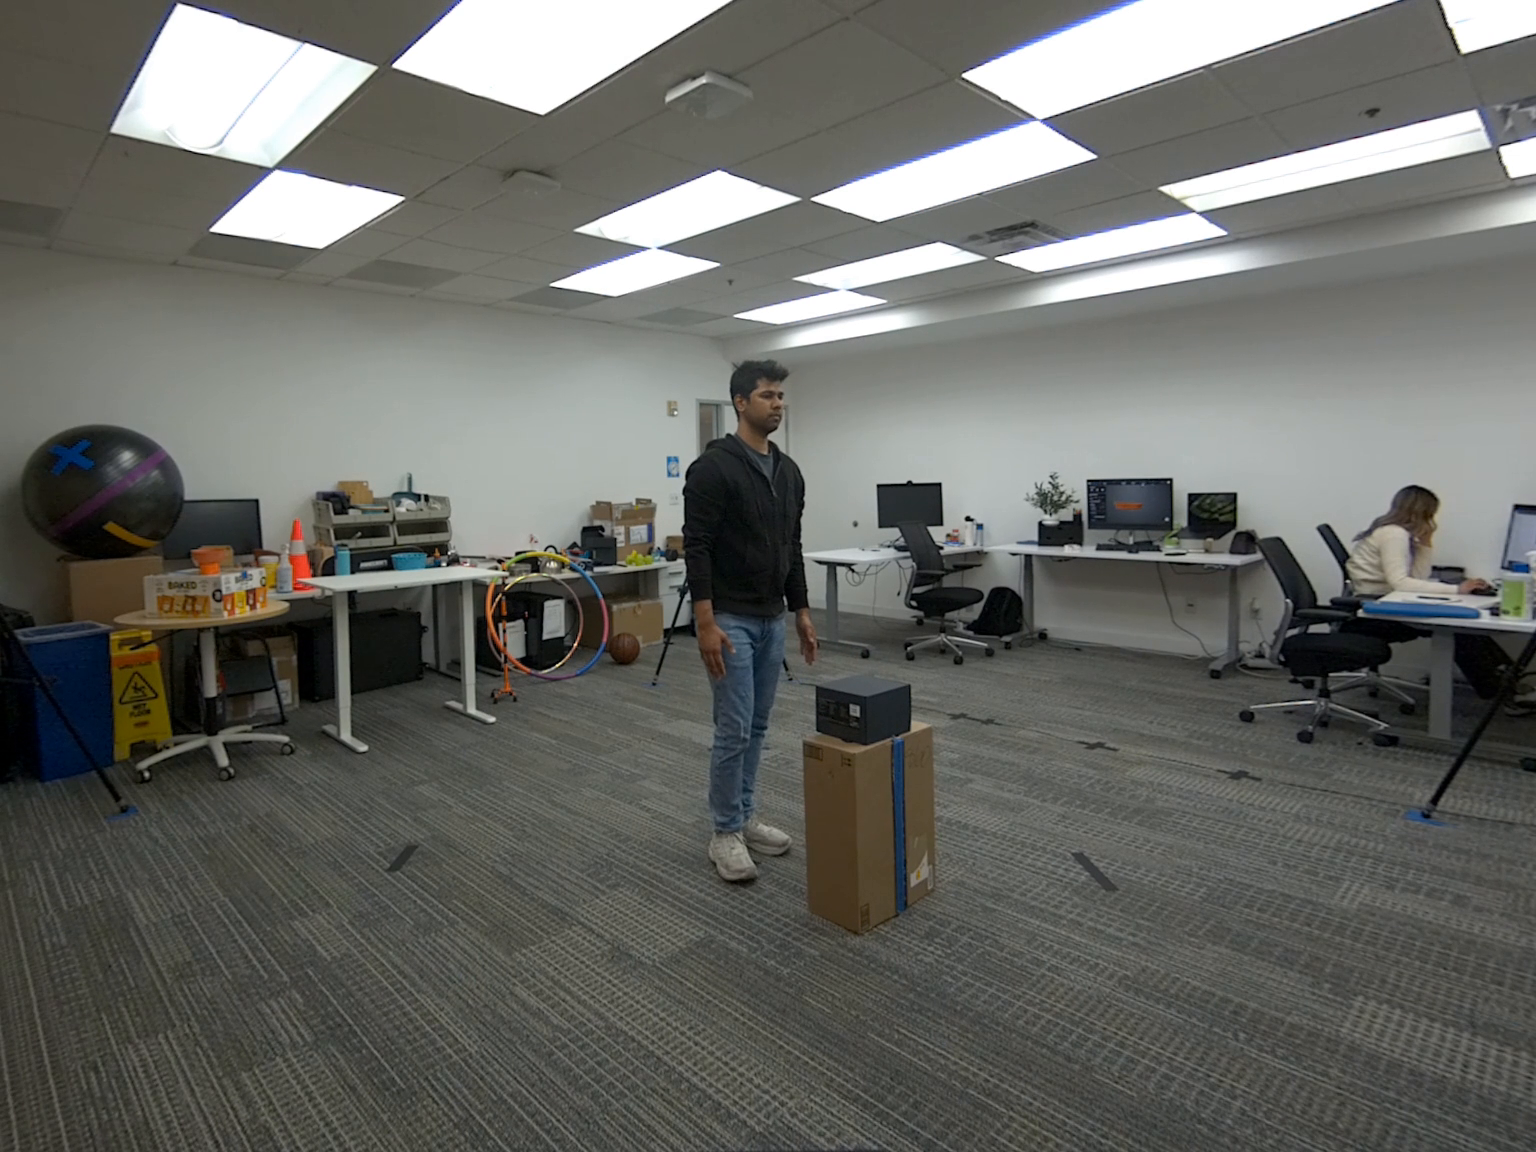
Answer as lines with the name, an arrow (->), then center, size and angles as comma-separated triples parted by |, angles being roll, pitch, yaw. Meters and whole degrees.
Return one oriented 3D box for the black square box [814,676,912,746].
black square box -> 0.313, 0.428, 2.786 | 0.222, 0.155, 0.223 | -6, 7, -42
